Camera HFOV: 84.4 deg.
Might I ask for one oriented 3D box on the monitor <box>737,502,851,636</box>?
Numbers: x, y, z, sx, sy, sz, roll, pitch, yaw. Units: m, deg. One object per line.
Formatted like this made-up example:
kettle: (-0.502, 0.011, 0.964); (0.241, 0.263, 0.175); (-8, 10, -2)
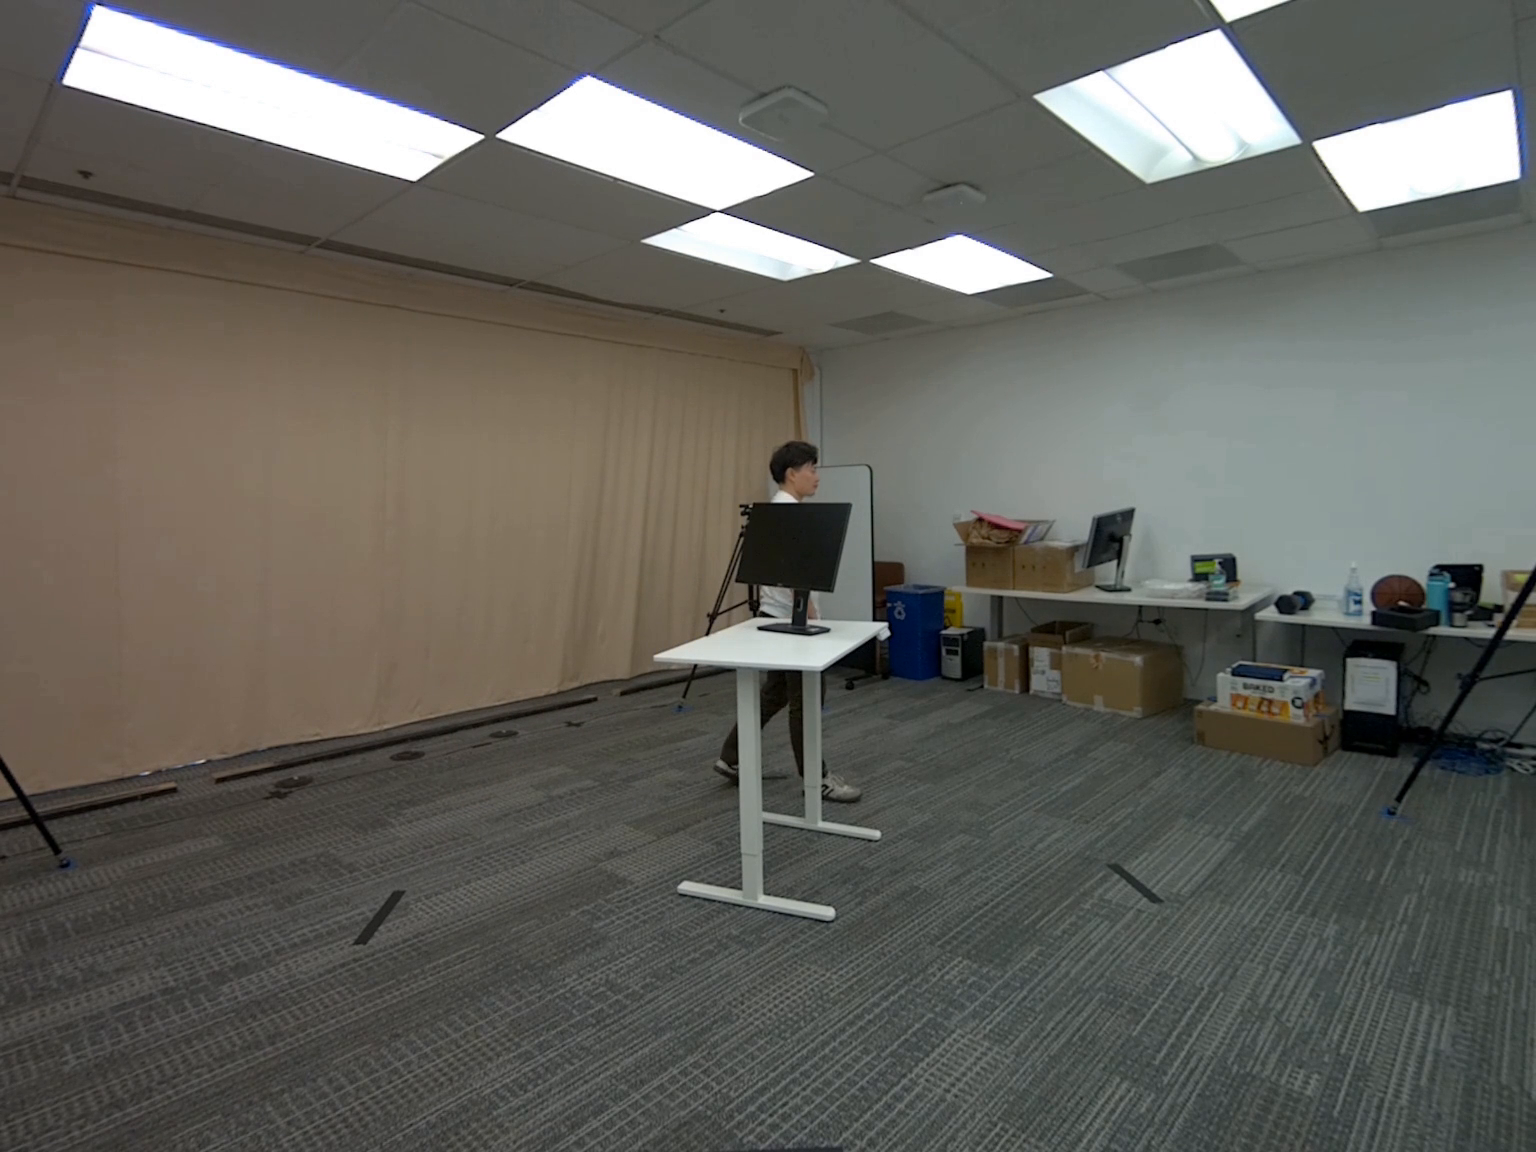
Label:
monitor: (0.111, -0.034, 3.390); (0.557, 0.522, 0.181); (4, 1, 45)
